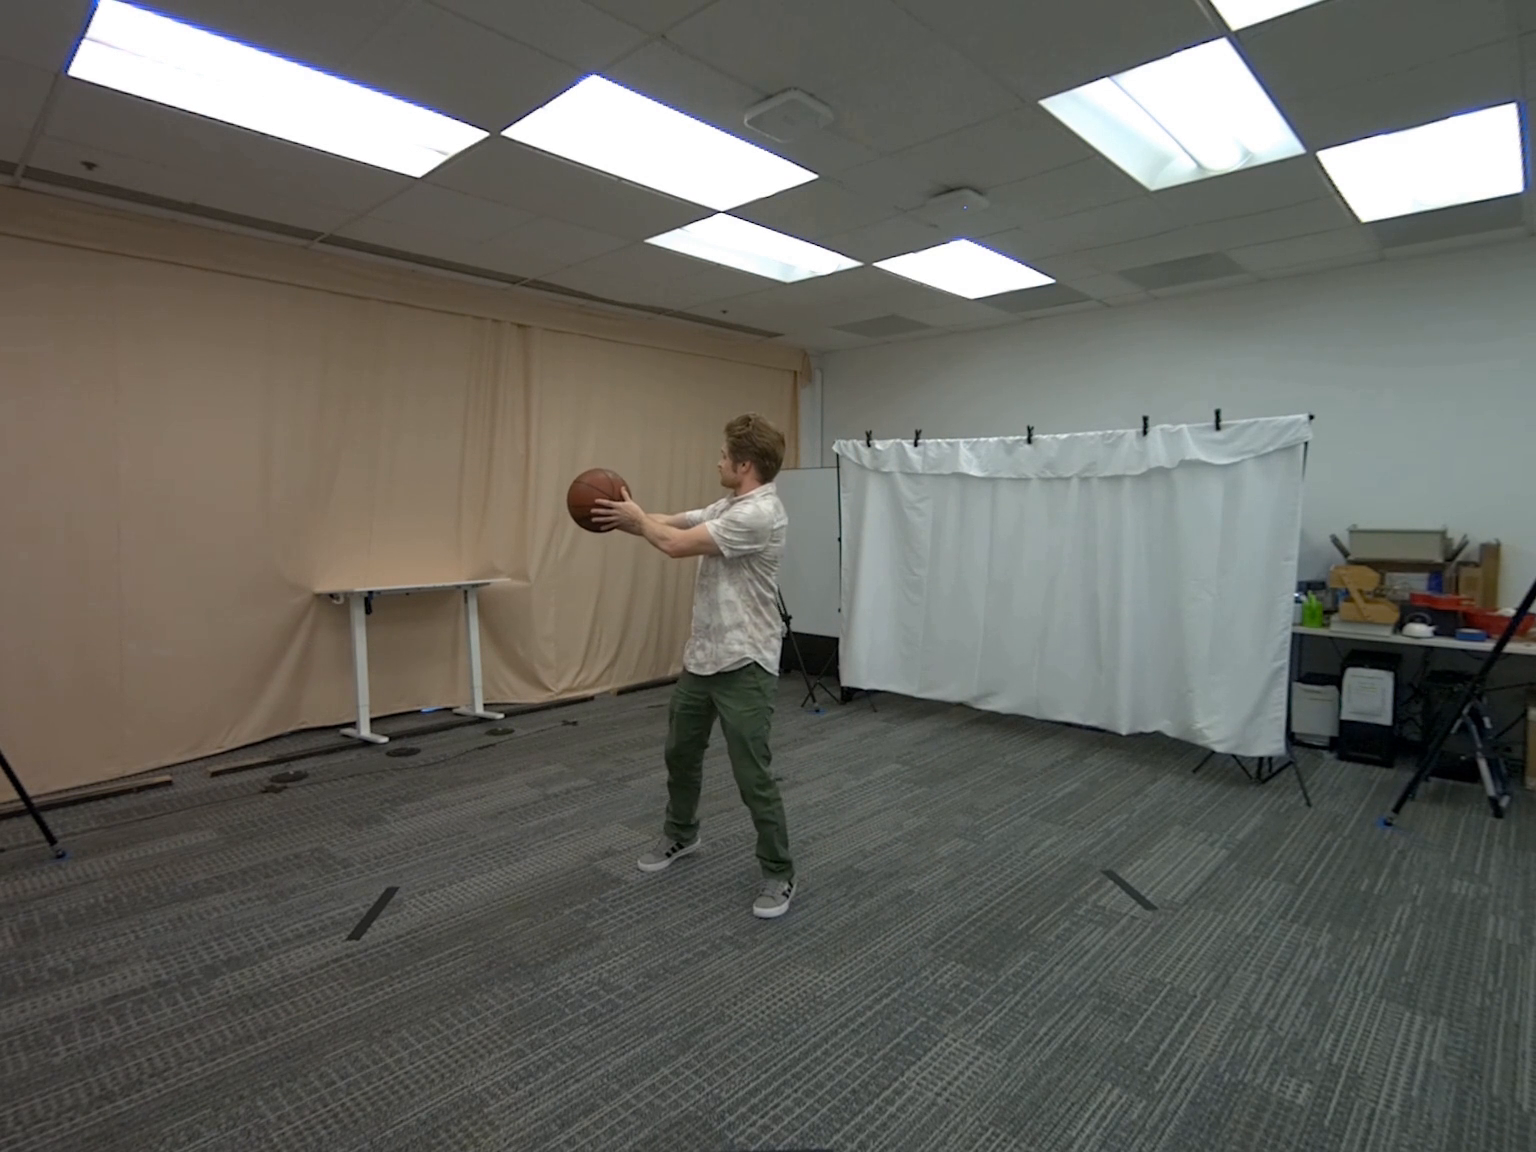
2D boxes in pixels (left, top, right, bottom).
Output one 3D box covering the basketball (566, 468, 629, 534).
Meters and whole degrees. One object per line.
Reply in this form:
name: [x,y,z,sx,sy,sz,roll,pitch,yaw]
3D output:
basketball: [-0.631,-0.279,3.117,0.236,0.235,0.237,0,4,-2]
